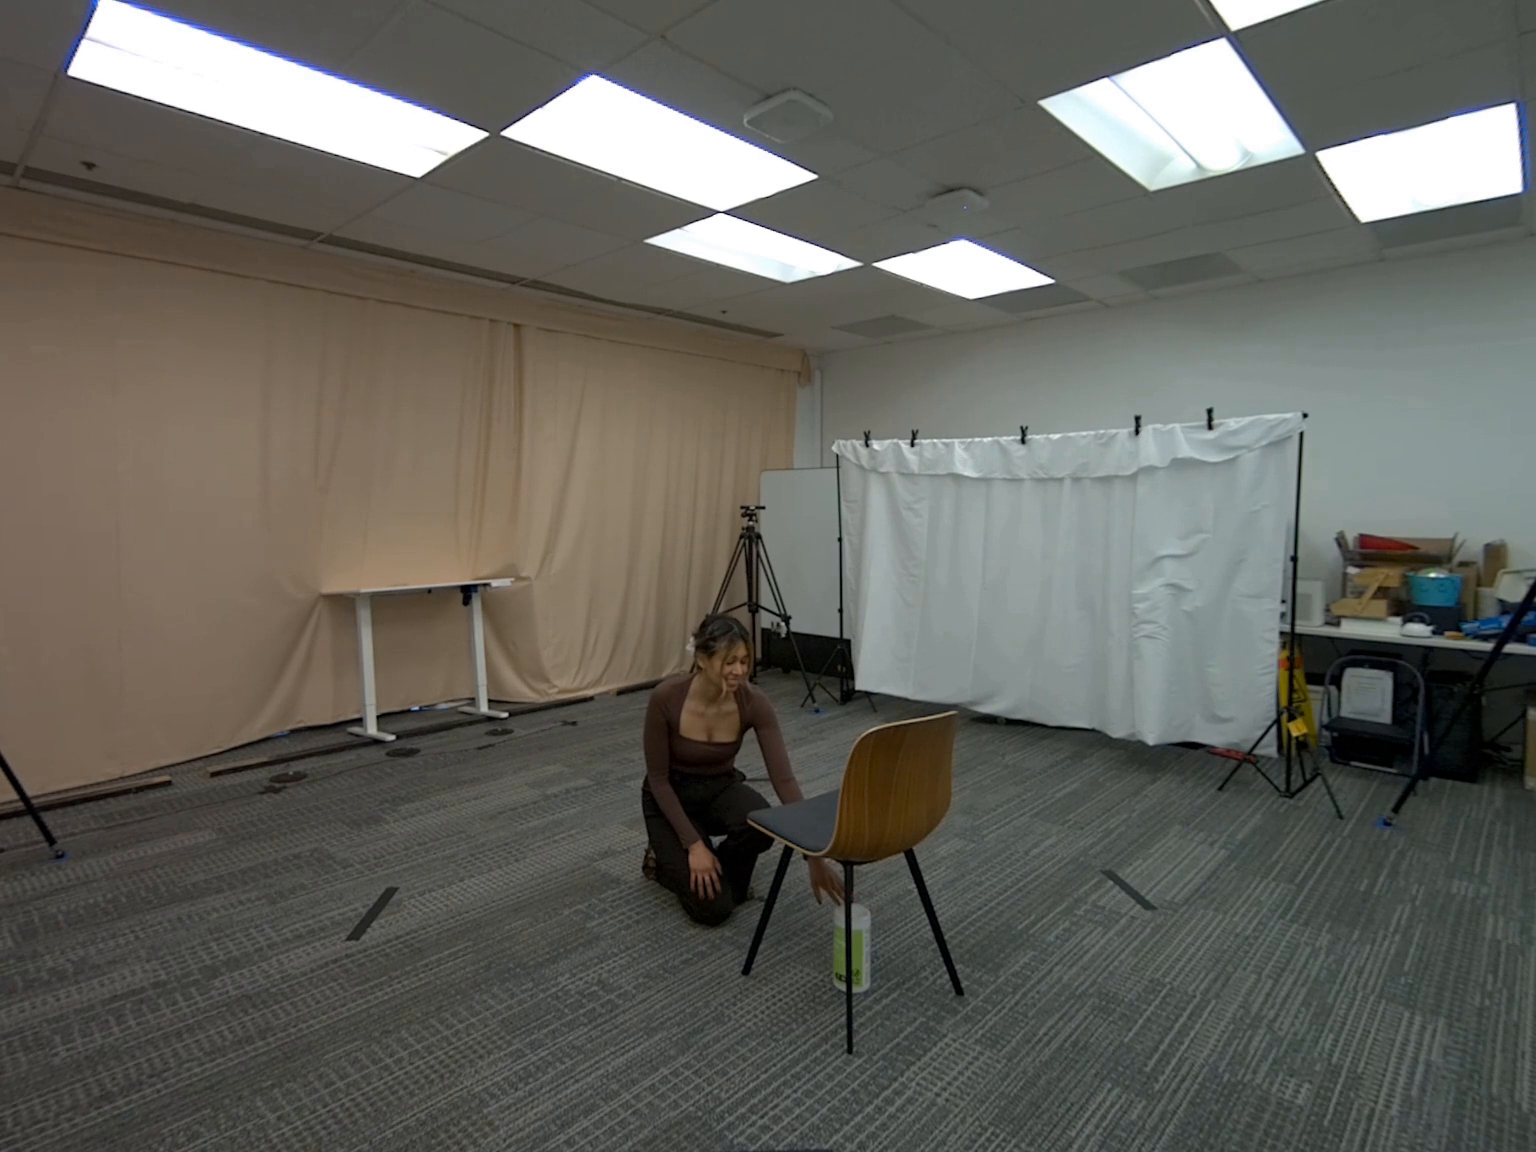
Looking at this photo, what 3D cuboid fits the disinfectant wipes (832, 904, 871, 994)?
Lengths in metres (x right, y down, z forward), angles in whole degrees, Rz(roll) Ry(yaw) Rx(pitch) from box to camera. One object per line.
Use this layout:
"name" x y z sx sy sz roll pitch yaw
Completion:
"disinfectant wipes" 0.244 1.092 2.438 0.118 0.217 0.118 0 2 -2
